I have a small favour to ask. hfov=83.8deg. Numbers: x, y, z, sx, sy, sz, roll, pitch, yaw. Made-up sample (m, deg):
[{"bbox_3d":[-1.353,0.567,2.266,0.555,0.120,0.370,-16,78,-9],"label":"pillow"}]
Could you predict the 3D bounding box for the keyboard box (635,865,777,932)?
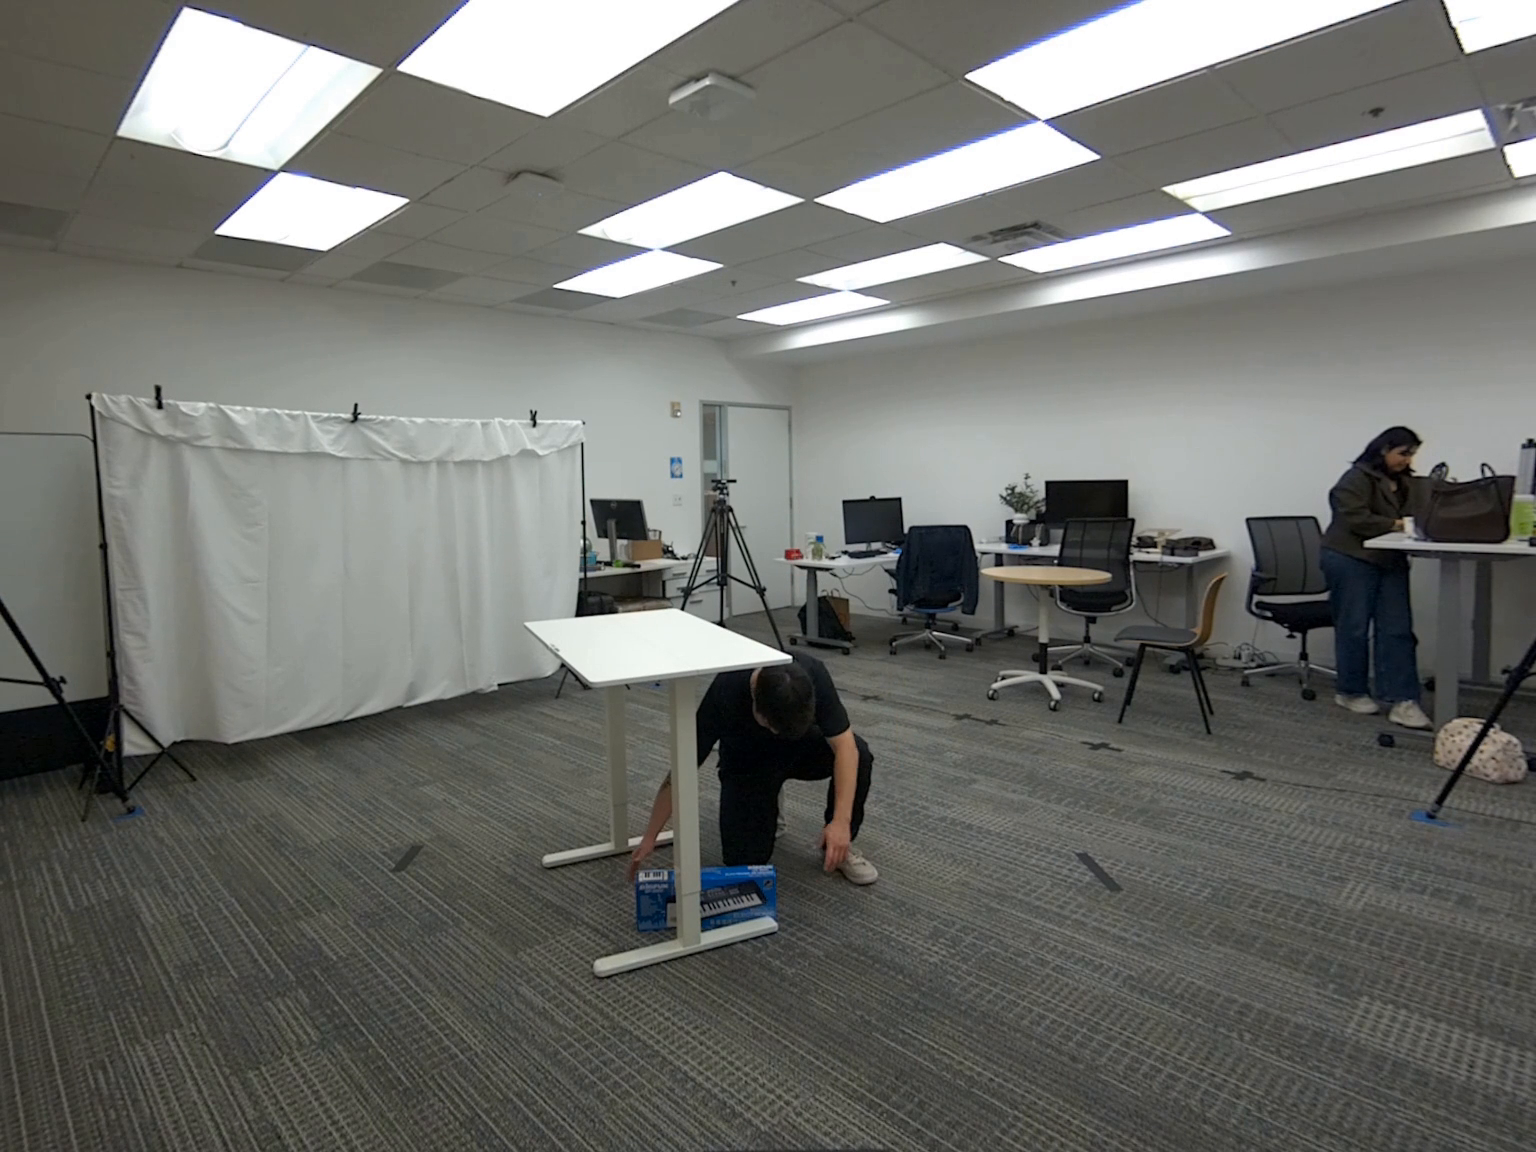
[{"bbox_3d":[-0.189,1.014,2.678,0.435,0.174,0.060,-2,12,-4],"label":"keyboard box"}]
